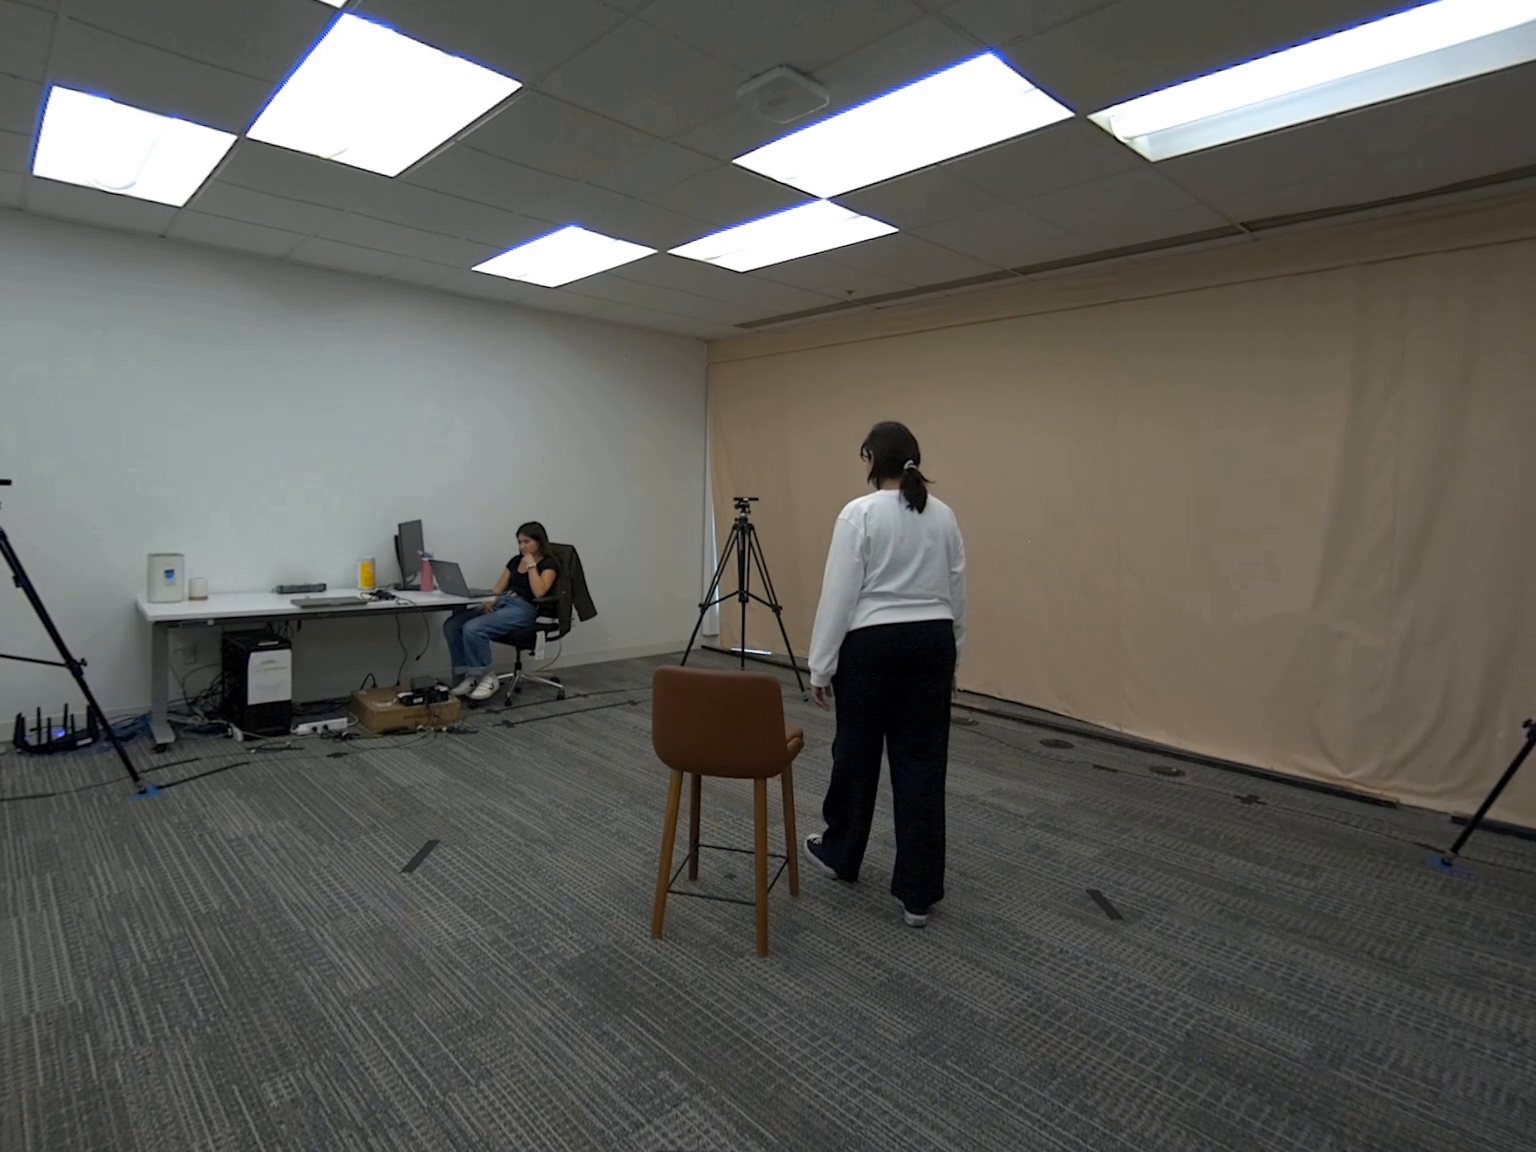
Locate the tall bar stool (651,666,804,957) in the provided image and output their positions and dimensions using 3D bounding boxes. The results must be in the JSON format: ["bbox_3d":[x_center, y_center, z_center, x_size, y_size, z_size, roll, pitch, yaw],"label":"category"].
[{"bbox_3d":[-0.135,0.705,2.782,0.462,0.886,0.463,2,5,15],"label":"tall bar stool"}]
